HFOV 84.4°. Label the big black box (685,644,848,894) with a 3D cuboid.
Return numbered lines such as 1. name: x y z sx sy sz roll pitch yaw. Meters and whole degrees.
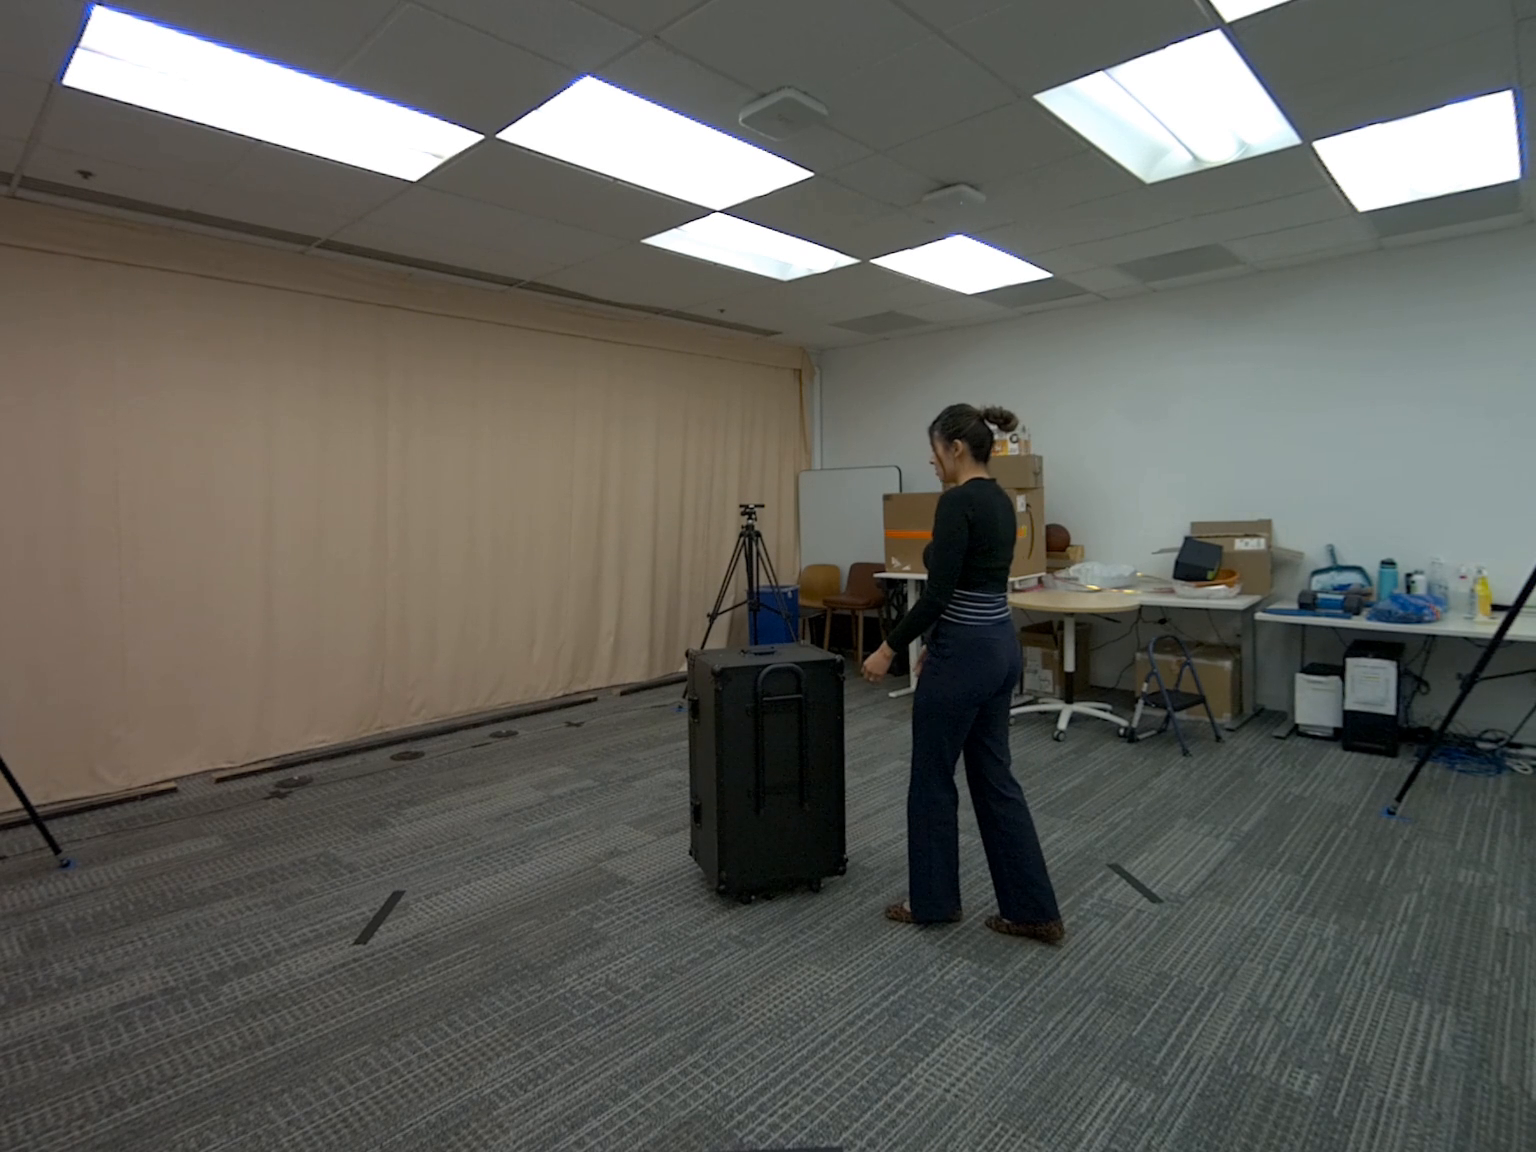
1. big black box: -0.009 0.645 3.064 0.511 0.860 0.405 -2 3 -20
